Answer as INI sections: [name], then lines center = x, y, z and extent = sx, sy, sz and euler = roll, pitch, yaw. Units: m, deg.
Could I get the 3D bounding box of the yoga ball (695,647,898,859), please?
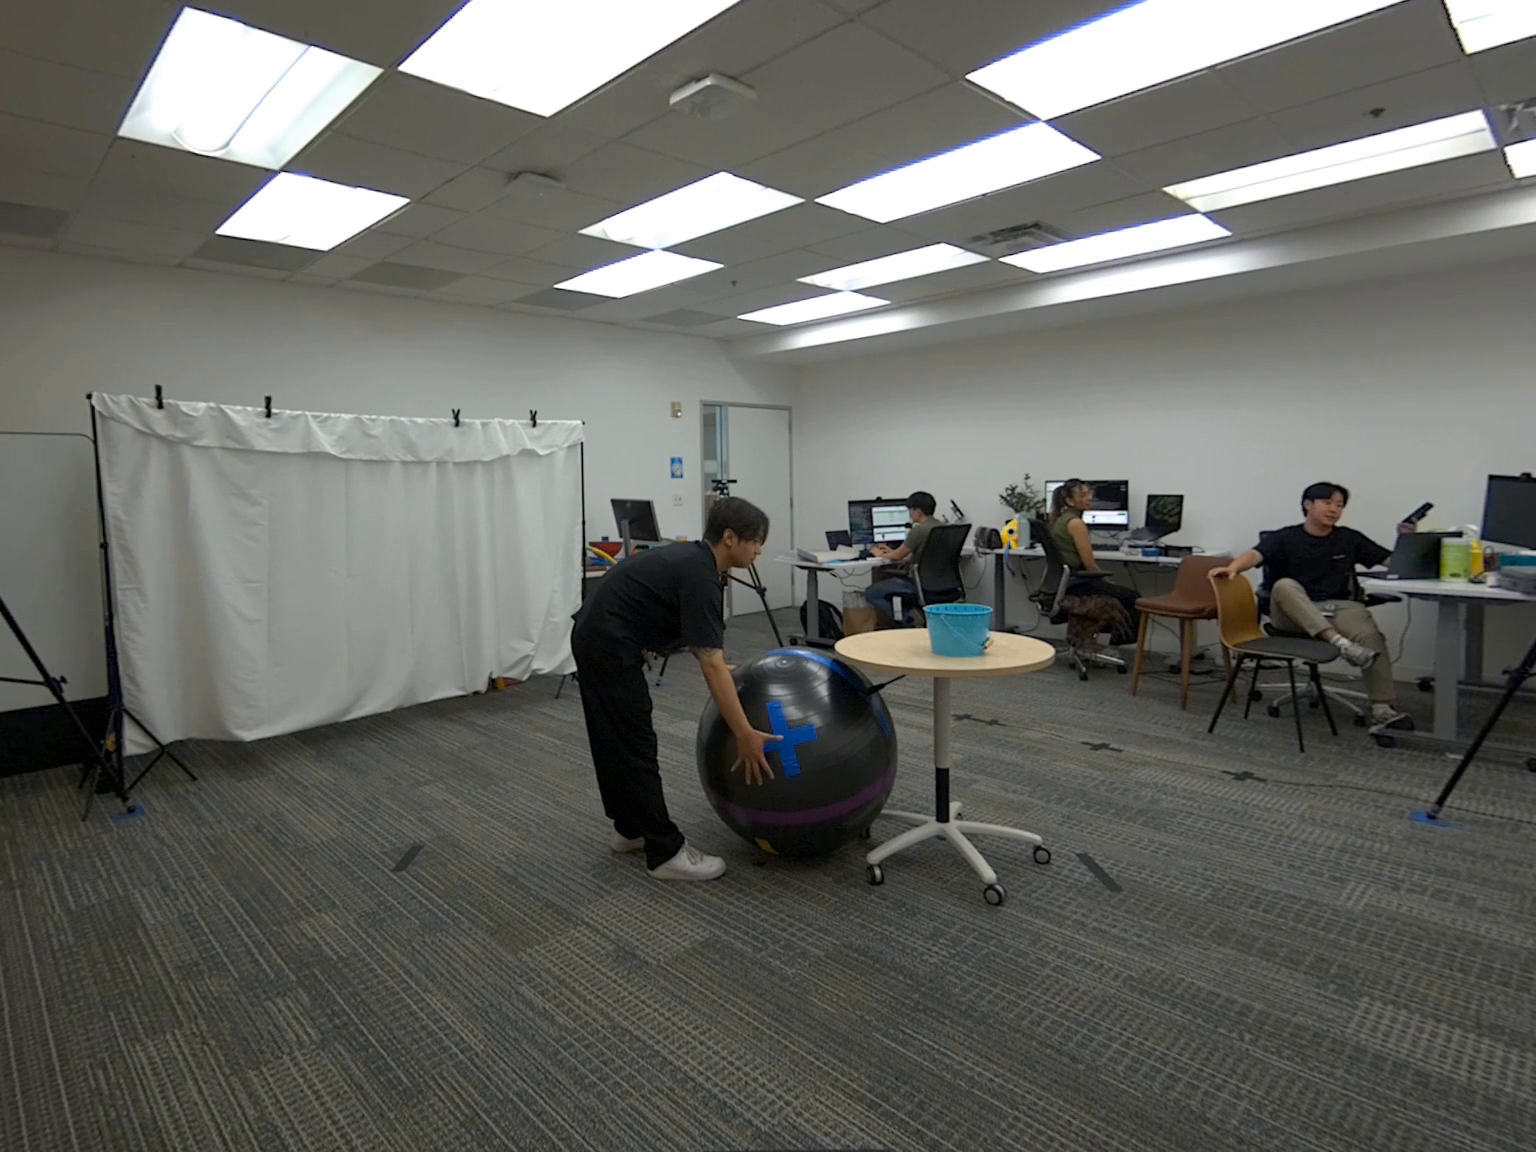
[yoga ball]
center = 0.109, 0.656, 3.230
extent = 0.757, 0.755, 0.762
euler = -1, 5, -2
